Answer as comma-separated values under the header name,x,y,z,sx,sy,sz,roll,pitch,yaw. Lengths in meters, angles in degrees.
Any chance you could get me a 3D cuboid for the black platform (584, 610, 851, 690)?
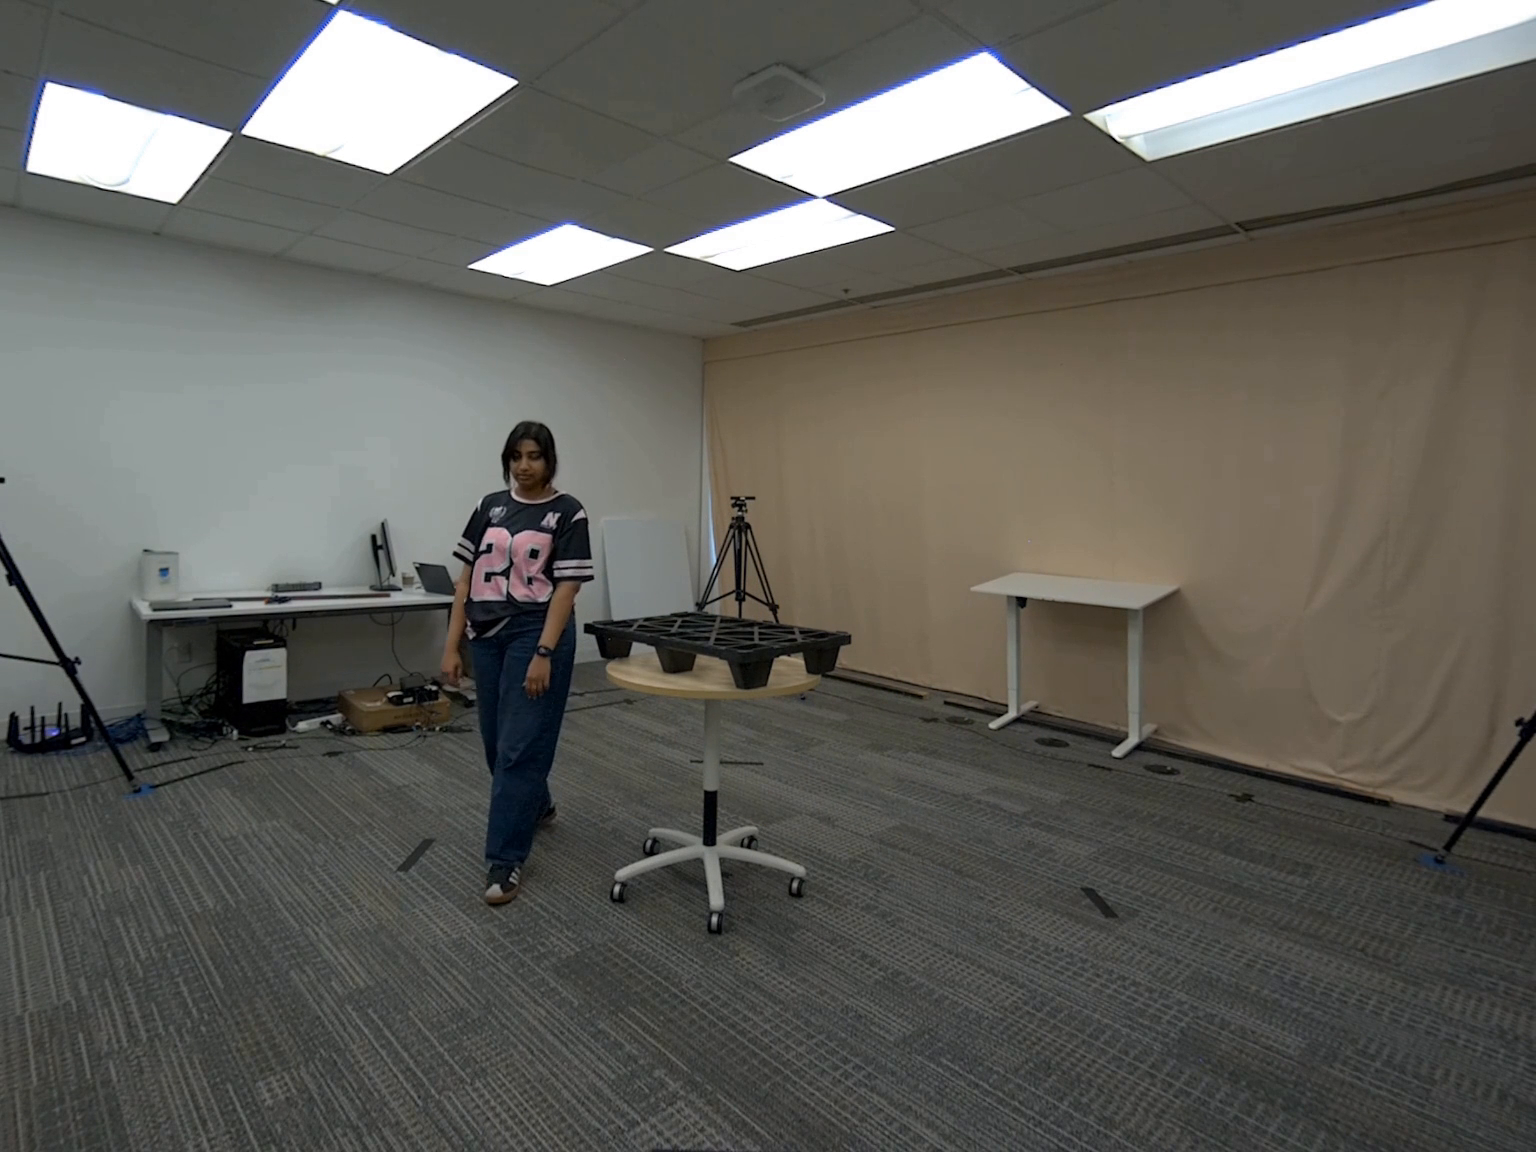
name,x,y,z,sx,sy,sz,roll,pitch,yaw
black platform,-0.204,0.260,3.070,0.826,0.143,0.591,5,6,42
